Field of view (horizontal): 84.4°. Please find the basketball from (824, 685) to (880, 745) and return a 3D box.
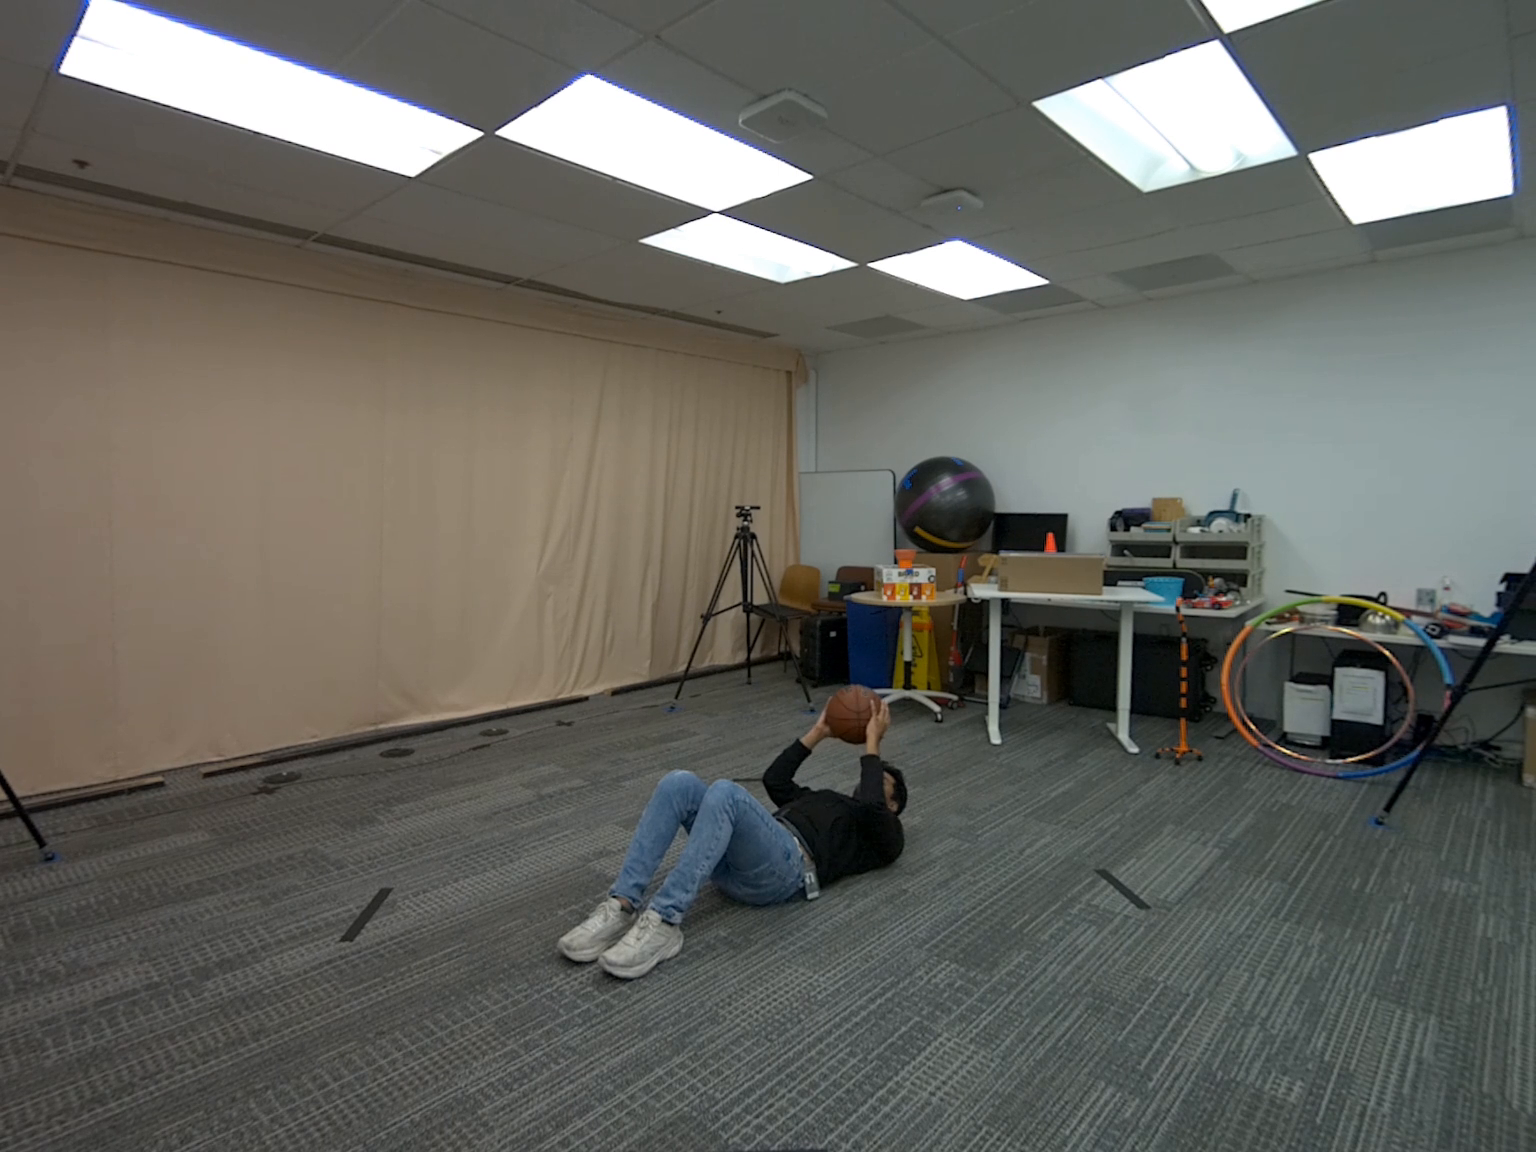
[{"bbox_3d":[0.361,0.566,3.418,0.236,0.235,0.237,0,4,-2],"label":"basketball"}]
